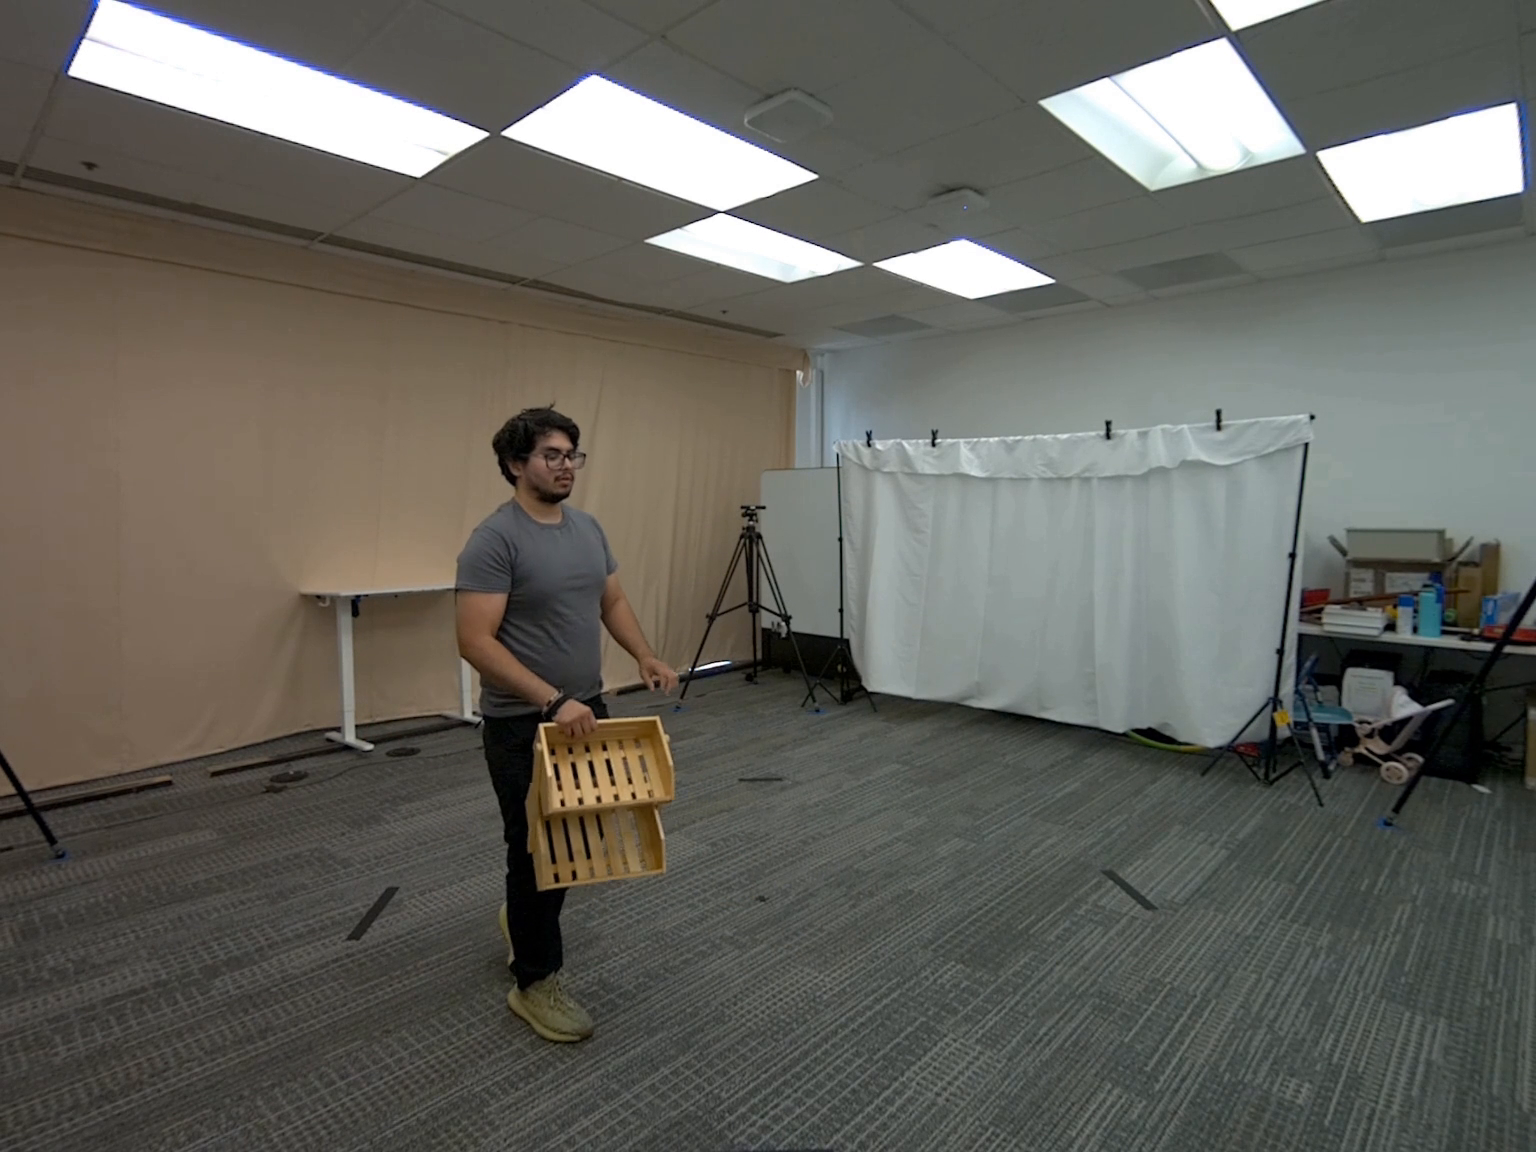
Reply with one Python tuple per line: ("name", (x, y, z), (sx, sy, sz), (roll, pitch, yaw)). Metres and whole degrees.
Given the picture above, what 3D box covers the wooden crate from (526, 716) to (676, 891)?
("wooden crate", (-0.396, 0.546, 2.015), (0.316, 0.272, 0.311), (0, 43, -26))
